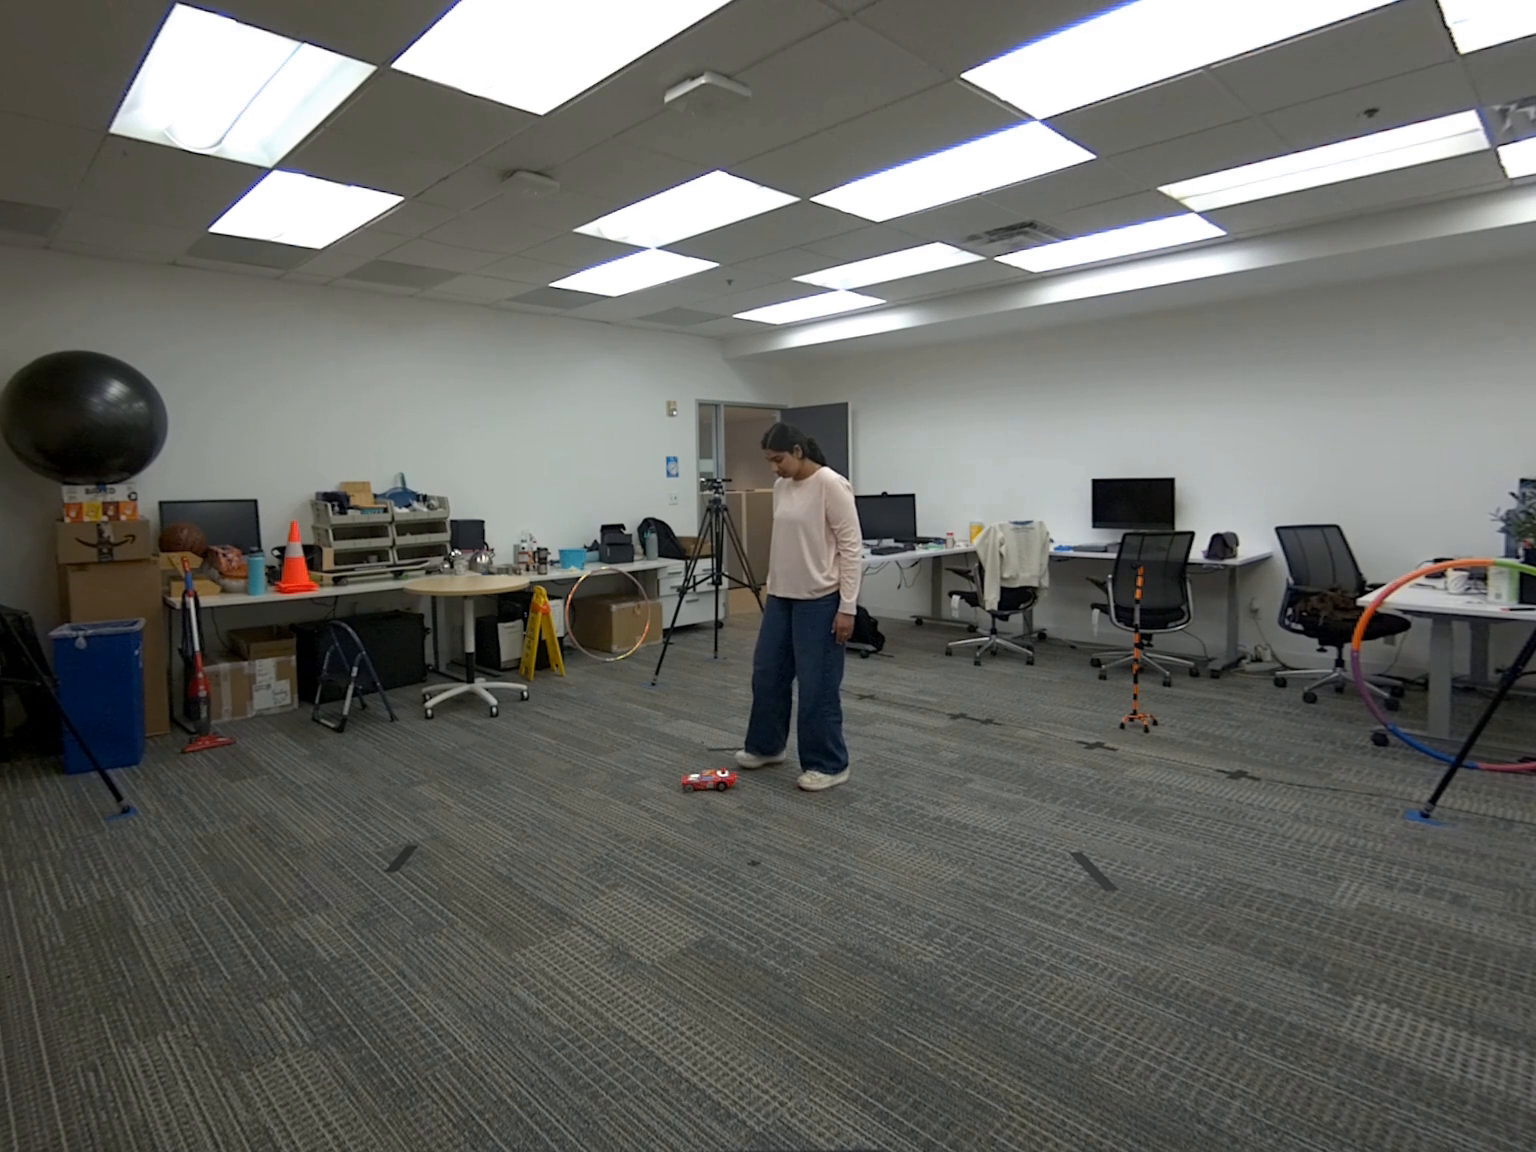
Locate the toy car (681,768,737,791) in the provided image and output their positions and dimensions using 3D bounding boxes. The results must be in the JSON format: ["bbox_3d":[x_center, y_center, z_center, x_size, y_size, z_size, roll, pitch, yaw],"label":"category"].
[{"bbox_3d":[-0.265,0.931,3.887,0.255,0.083,0.131,-12,7,0],"label":"toy car"}]
